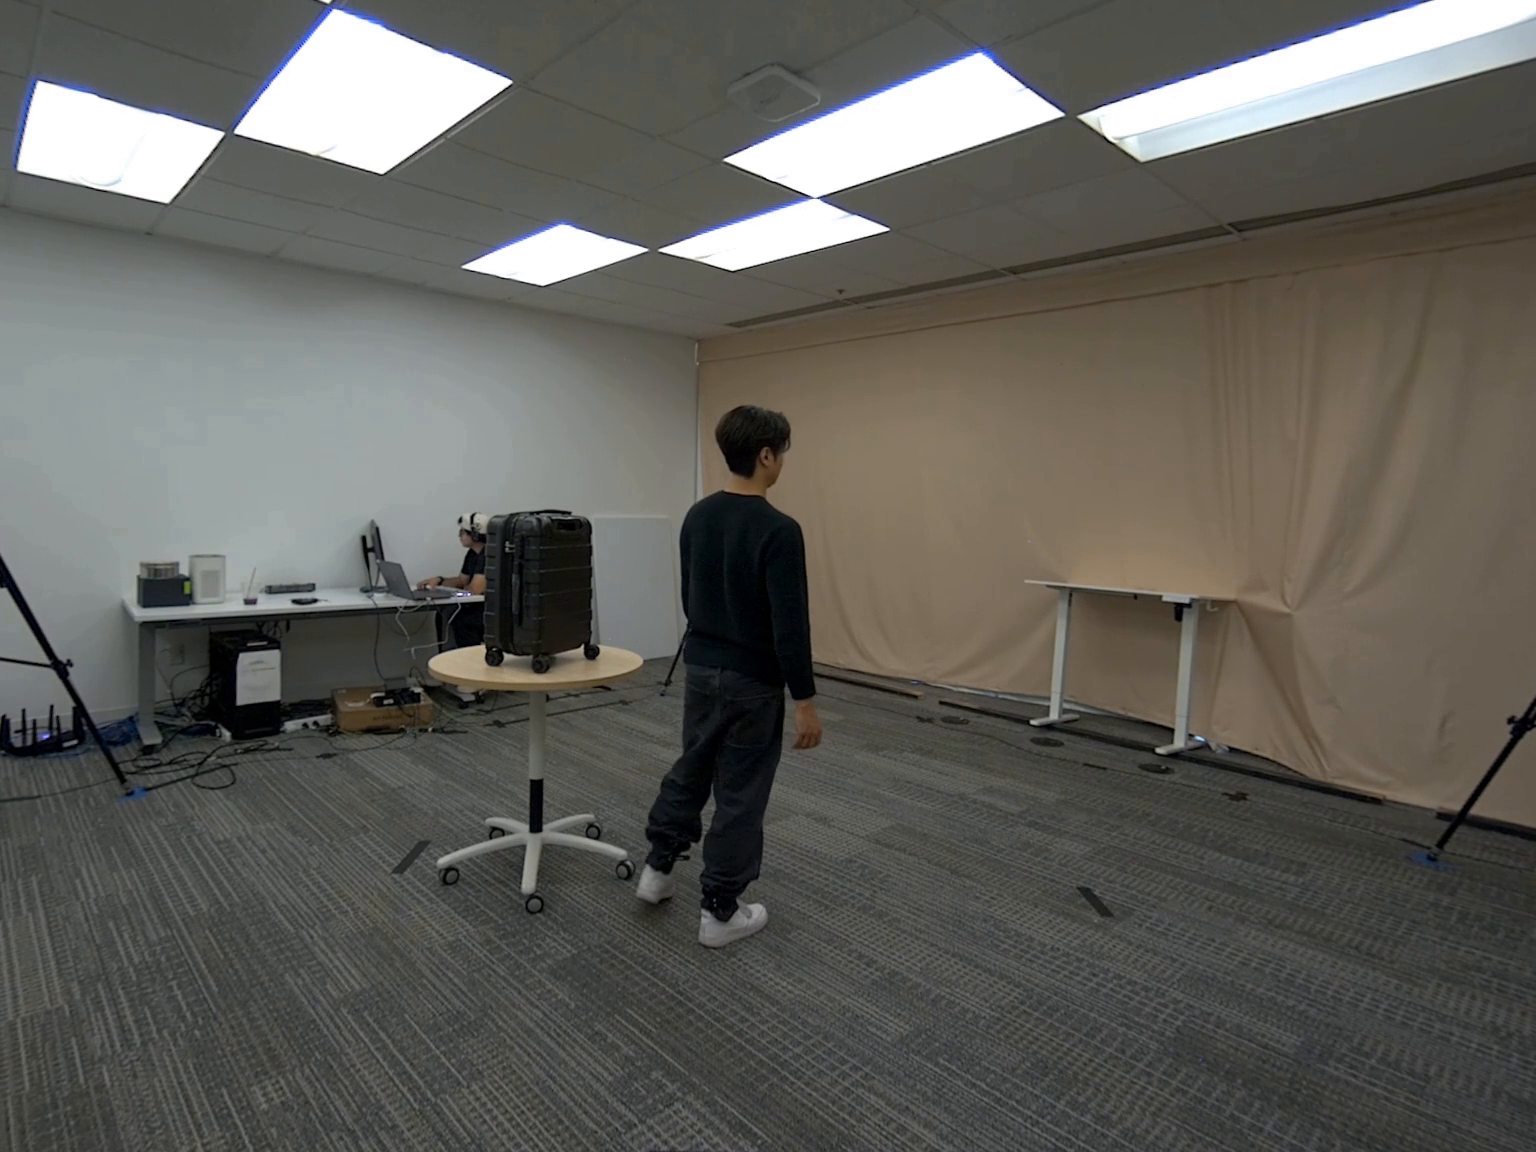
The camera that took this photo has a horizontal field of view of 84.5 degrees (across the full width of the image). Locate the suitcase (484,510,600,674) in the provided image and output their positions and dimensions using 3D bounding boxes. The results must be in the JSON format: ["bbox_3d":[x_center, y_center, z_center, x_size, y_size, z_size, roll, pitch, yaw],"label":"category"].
[{"bbox_3d":[-0.830,0.037,3.042,0.253,0.548,0.369,2,4,24],"label":"suitcase"}]
